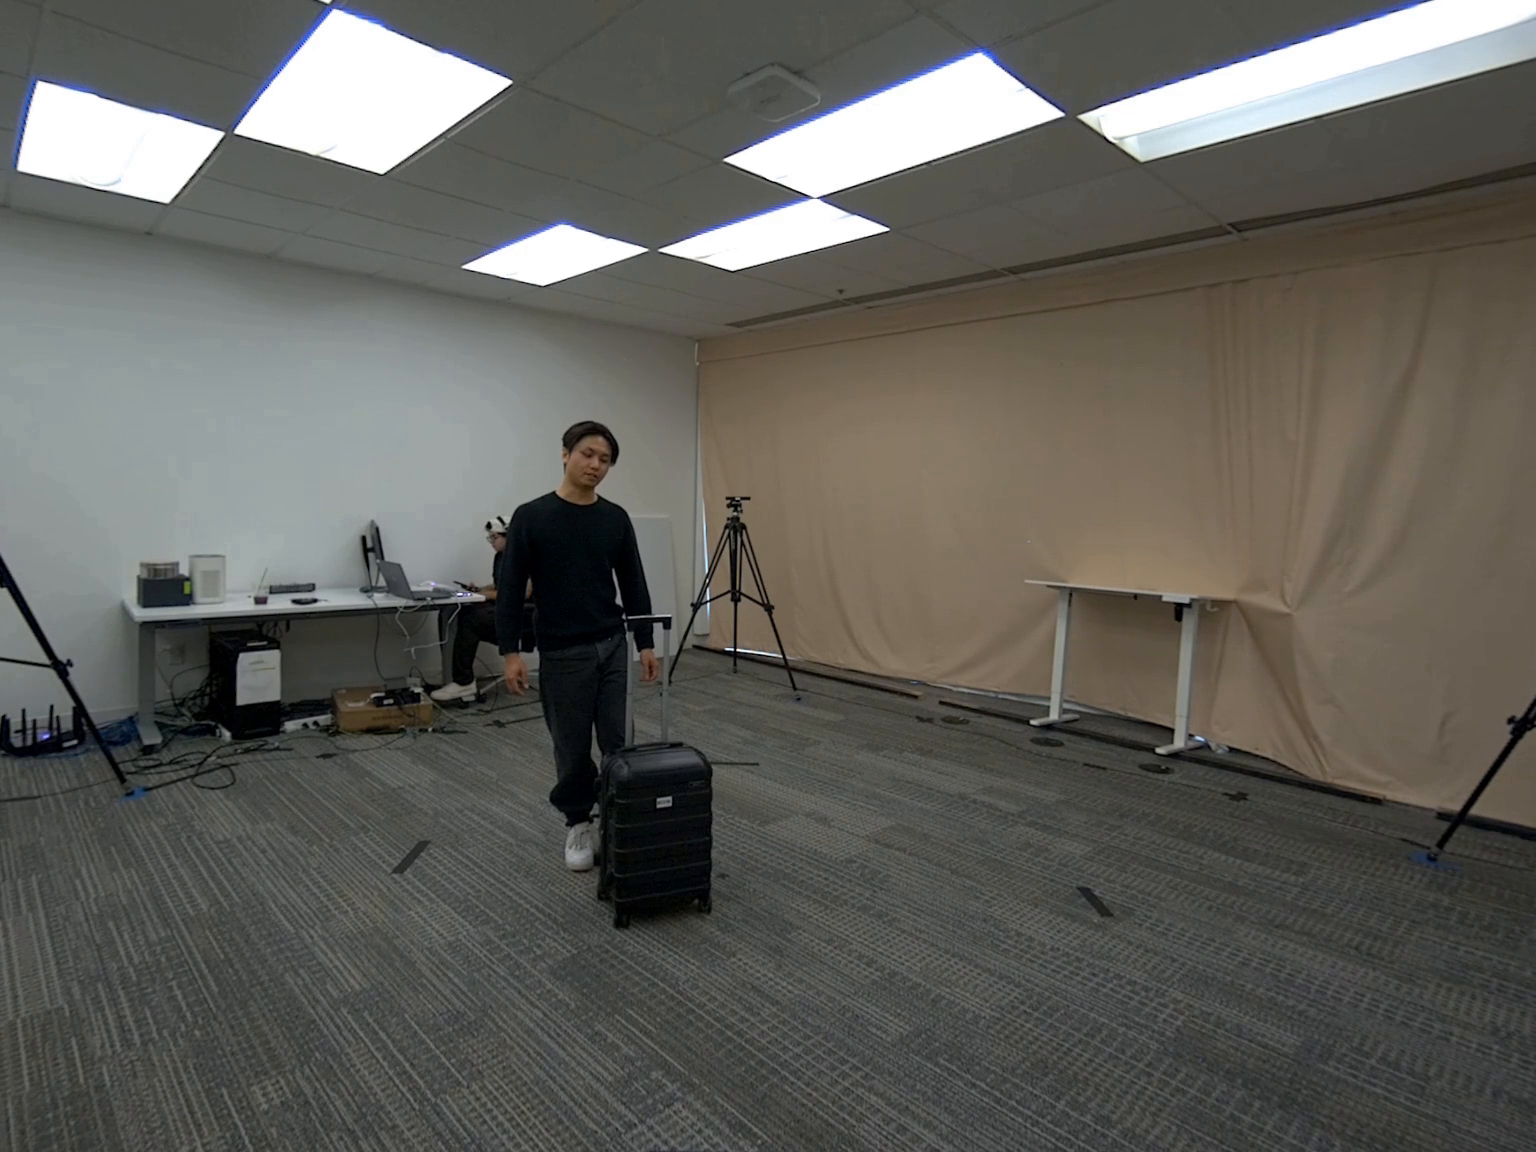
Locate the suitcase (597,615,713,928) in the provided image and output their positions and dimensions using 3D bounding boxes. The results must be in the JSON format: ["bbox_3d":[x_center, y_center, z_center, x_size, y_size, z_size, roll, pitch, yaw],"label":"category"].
[{"bbox_3d":[-0.375,0.652,2.812,0.378,0.974,0.262,-1,6,-21],"label":"suitcase"}]
